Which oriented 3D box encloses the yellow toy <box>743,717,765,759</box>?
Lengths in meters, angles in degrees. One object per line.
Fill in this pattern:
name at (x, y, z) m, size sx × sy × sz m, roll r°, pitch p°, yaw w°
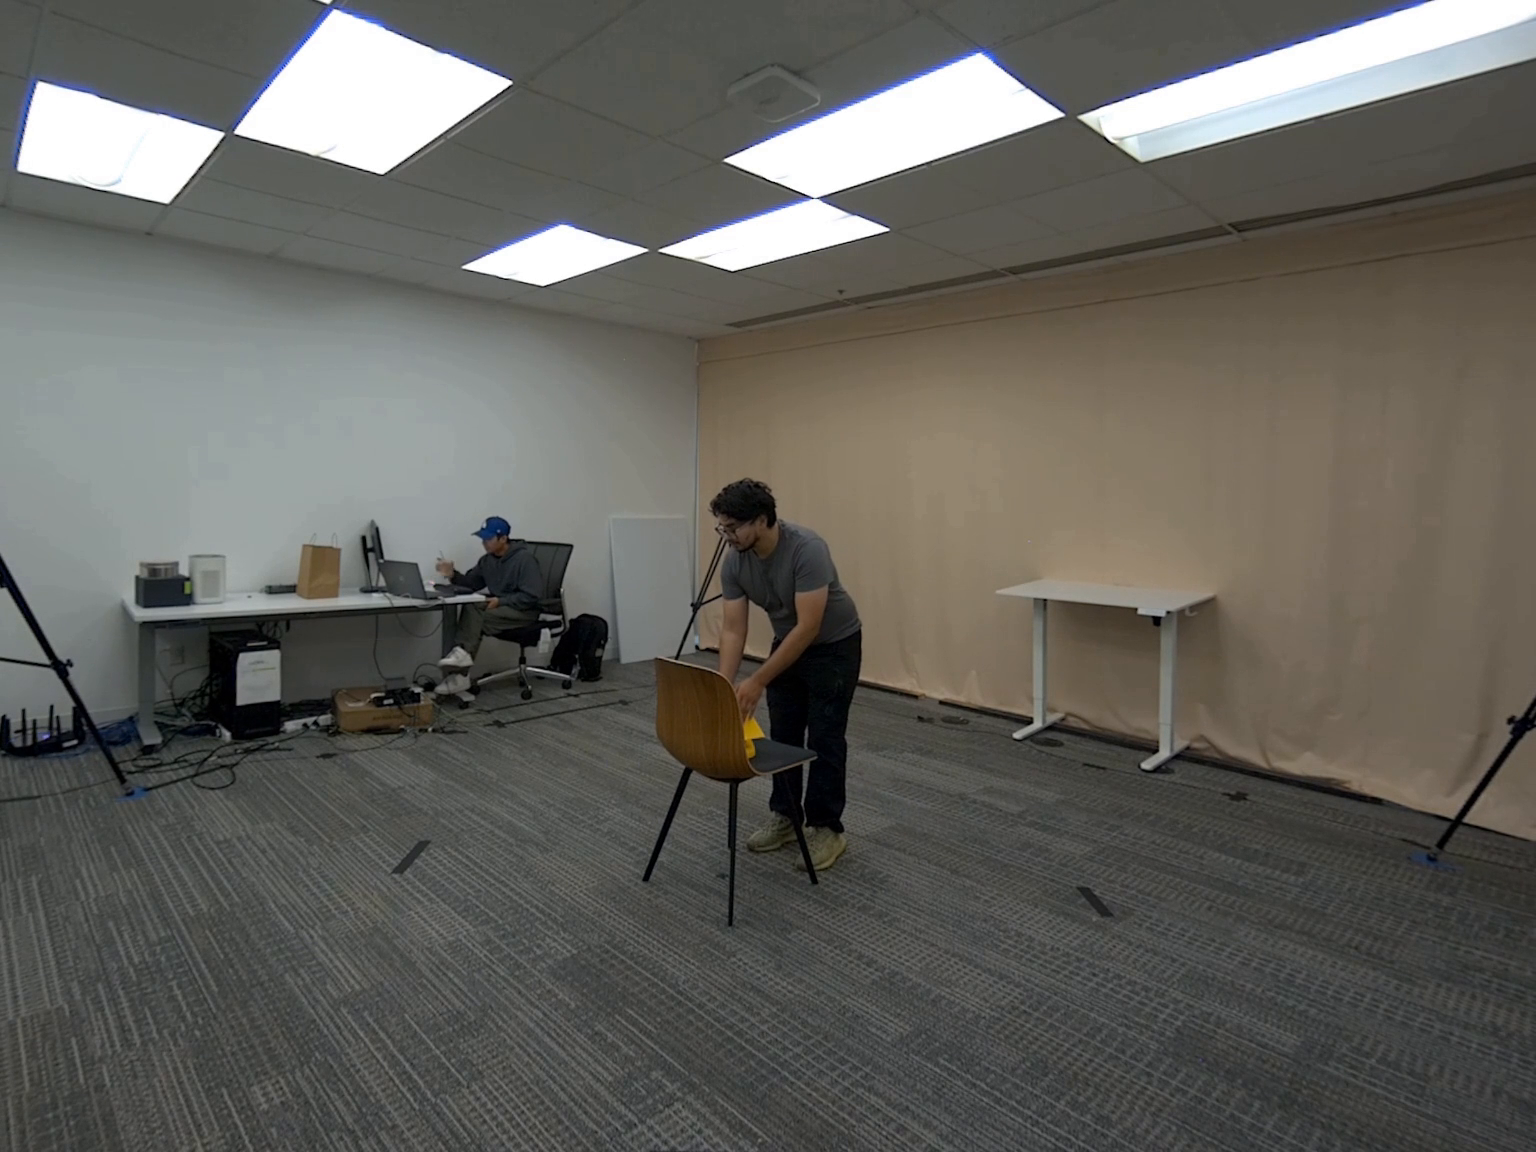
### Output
yellow toy at (-0.155, 0.527, 3.002) m, size 0.201 × 0.229 × 0.197 m, roll -5°, pitch 8°, yaw -28°
